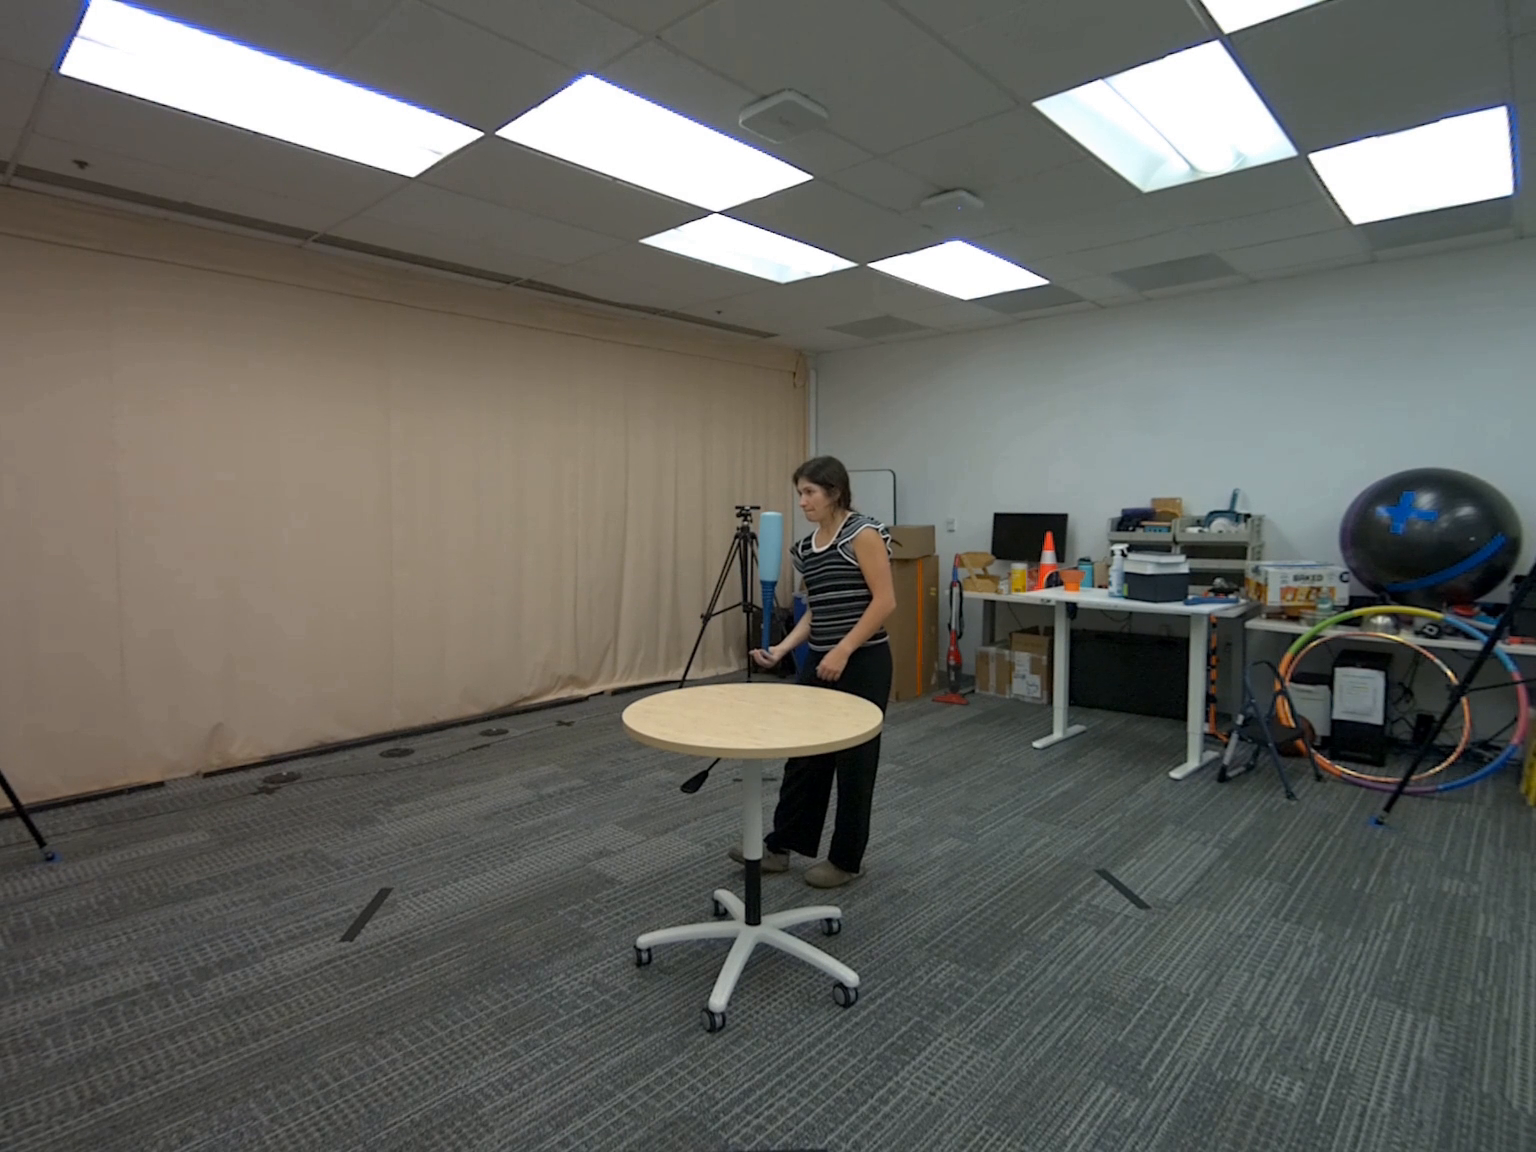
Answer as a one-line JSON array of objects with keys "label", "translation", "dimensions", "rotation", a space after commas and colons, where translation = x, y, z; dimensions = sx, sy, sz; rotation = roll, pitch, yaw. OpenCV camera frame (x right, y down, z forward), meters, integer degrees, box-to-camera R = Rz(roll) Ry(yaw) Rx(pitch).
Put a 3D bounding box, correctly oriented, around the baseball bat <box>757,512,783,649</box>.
[{"label": "baseball bat", "translation": [0.007, 0.041, 3.114], "dimensions": [0.089, 0.542, 0.089], "rotation": [4, 2, -2]}]
